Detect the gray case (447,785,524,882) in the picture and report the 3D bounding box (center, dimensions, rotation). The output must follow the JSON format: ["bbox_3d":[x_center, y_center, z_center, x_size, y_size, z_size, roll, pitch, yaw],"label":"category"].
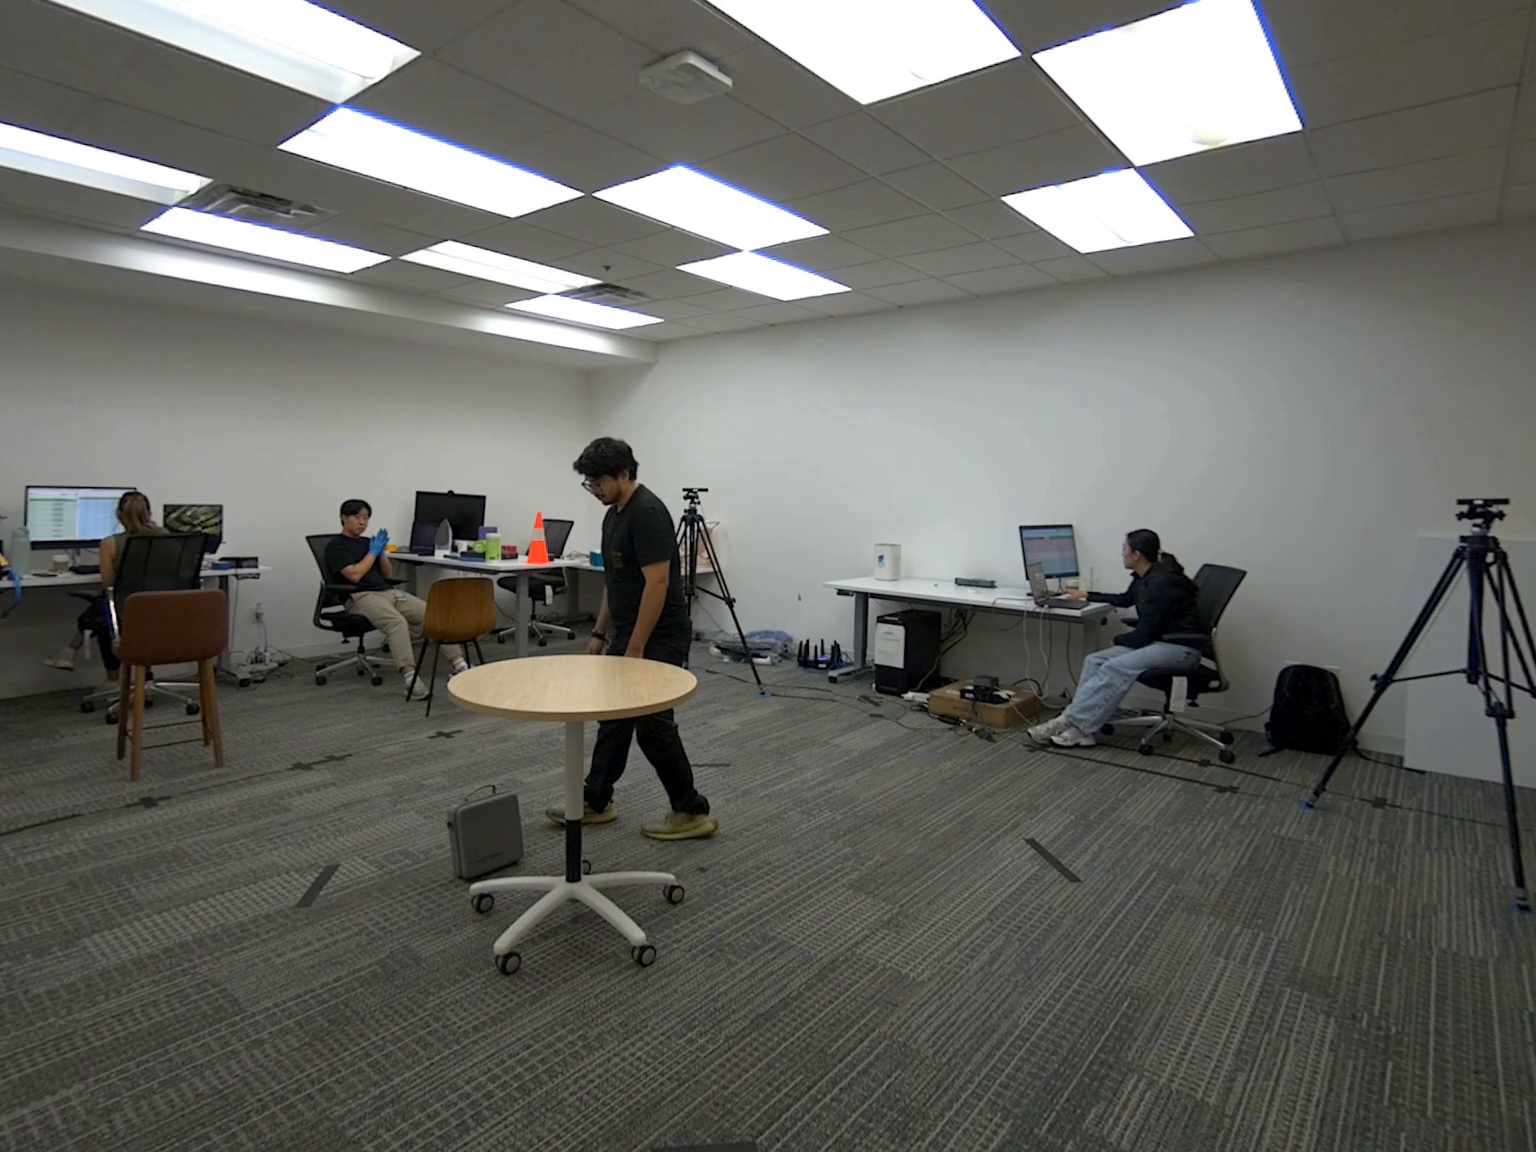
[{"bbox_3d":[-1.038,0.925,3.088,0.107,0.262,0.249,-11,-4,42],"label":"gray case"}]
